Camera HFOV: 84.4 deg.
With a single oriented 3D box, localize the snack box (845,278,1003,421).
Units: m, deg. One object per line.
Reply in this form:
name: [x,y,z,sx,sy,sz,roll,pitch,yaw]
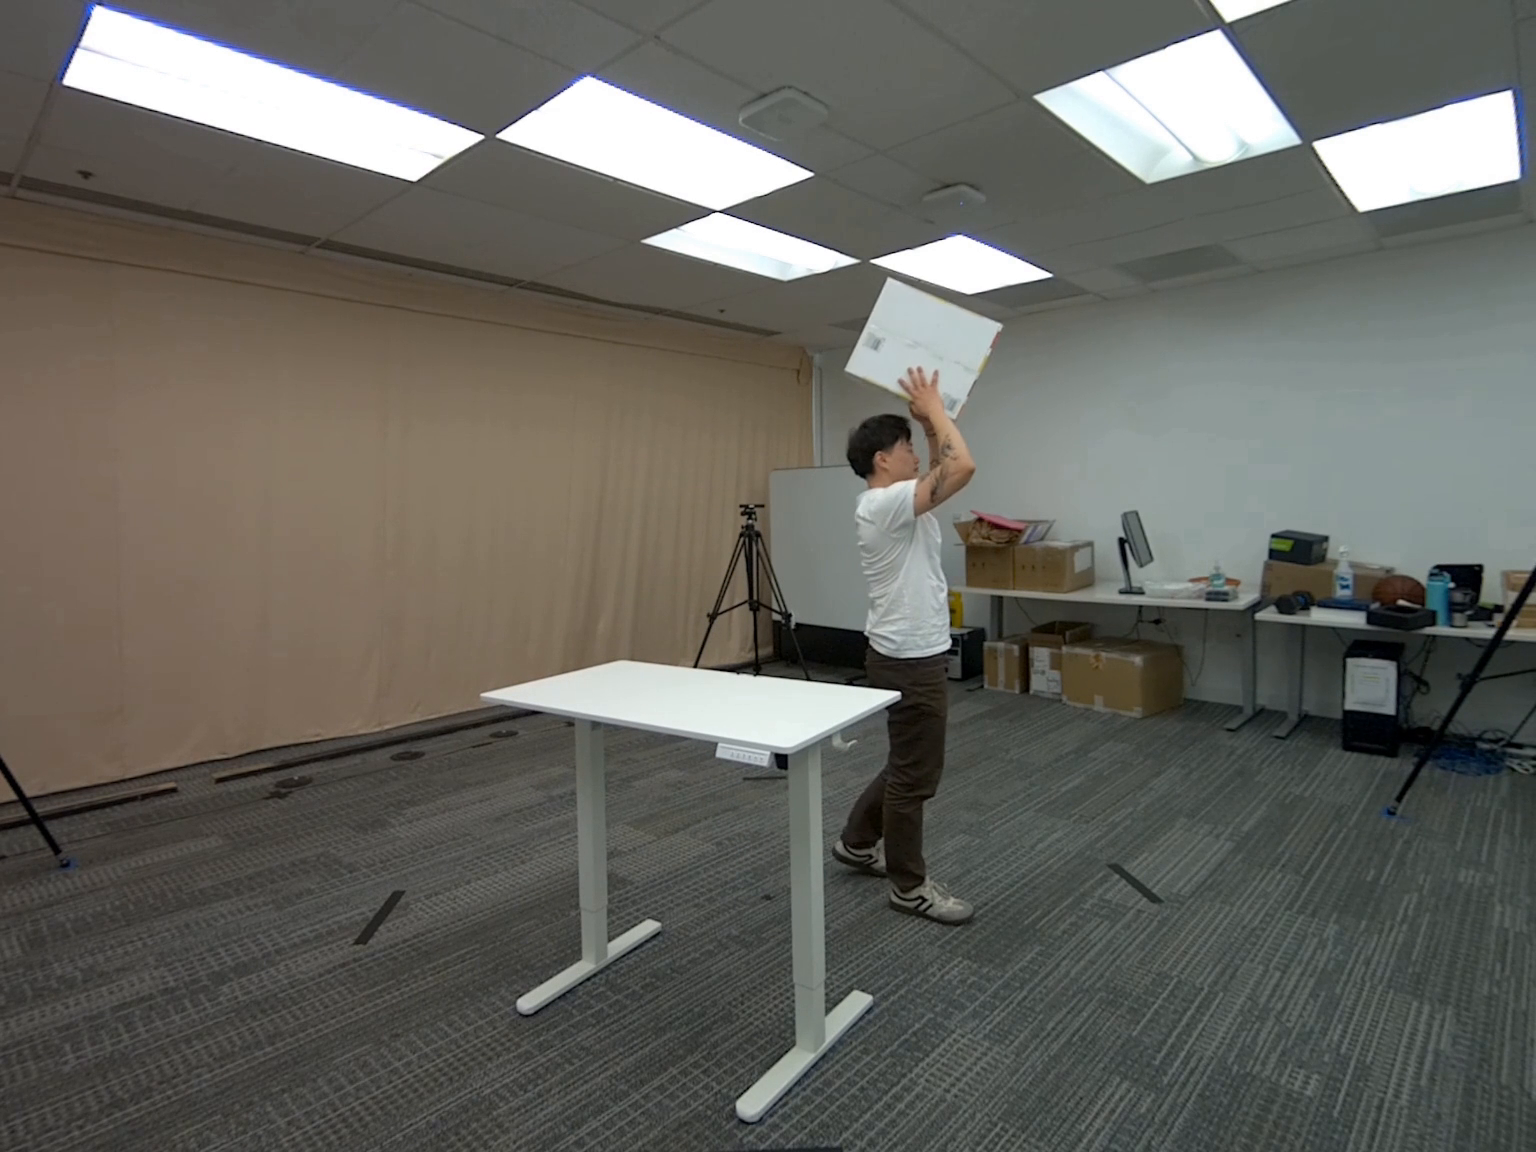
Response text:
snack box: [0.527,-0.755,2.858,0.410,0.340,0.204,26,8,8]
